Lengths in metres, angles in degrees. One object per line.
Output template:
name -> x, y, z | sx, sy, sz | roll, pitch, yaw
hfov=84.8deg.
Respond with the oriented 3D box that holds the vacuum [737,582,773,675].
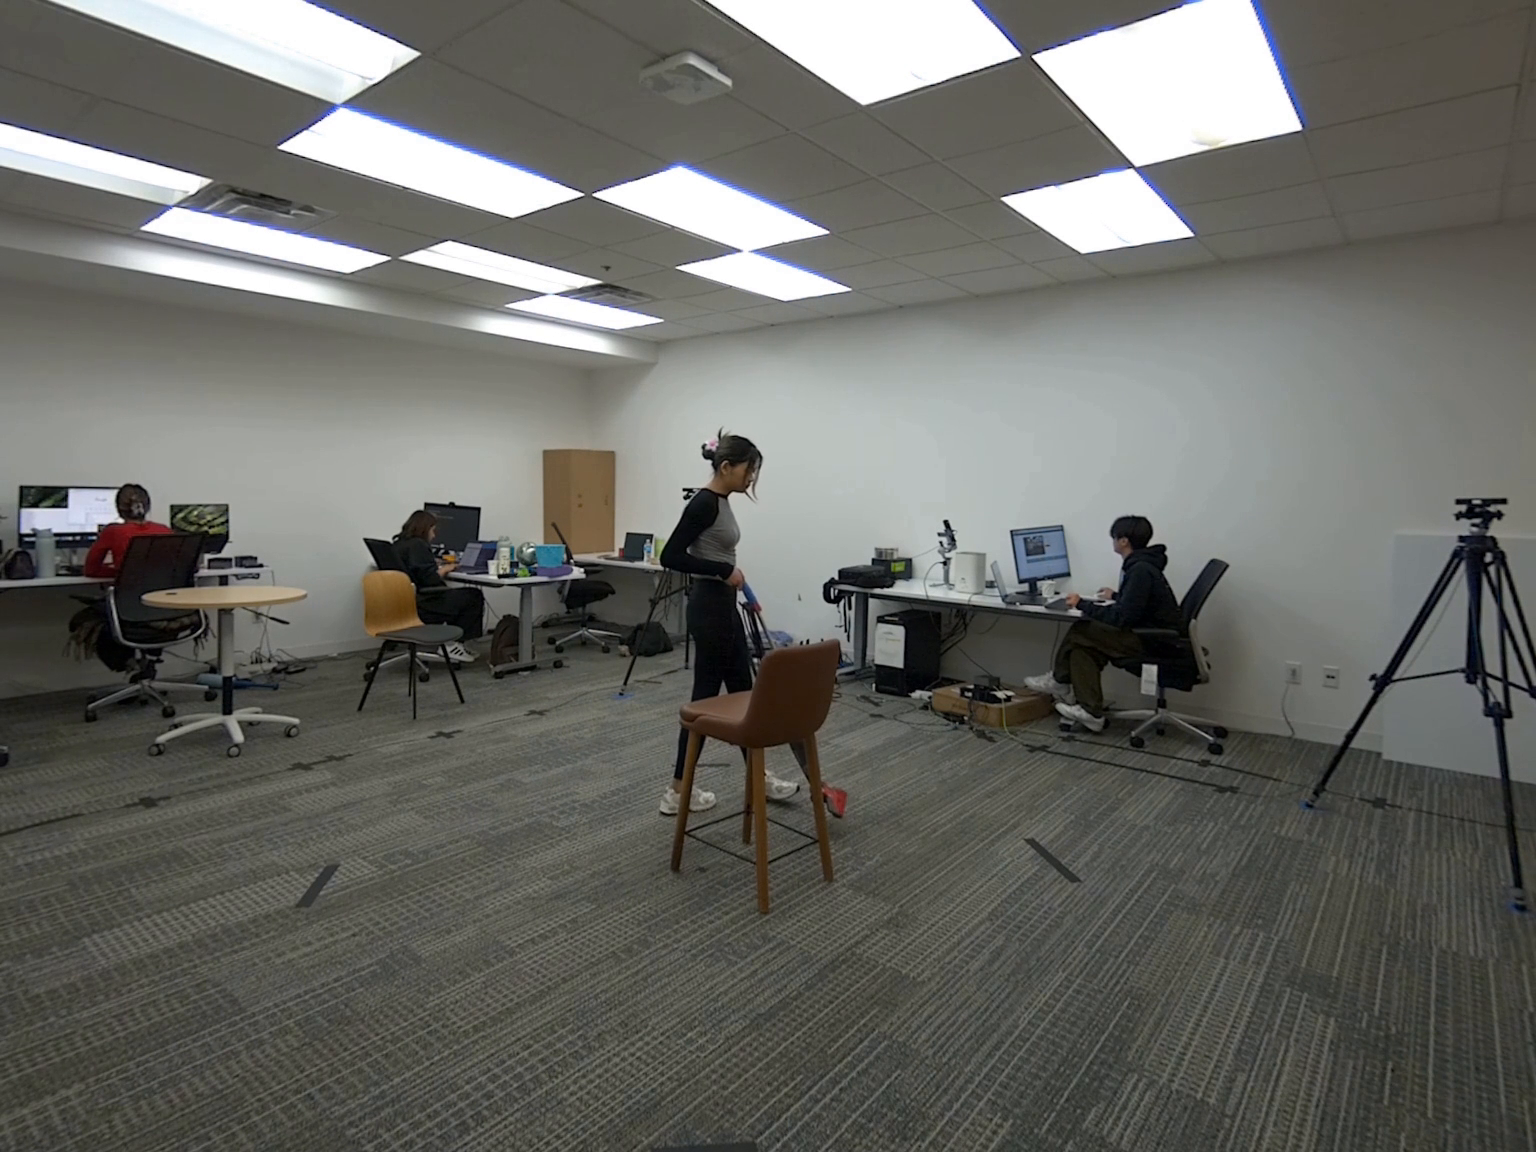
vacuum -> 0.039, 0.440, 3.537 | 0.145, 1.053, 0.250 | -25, -2, 13
